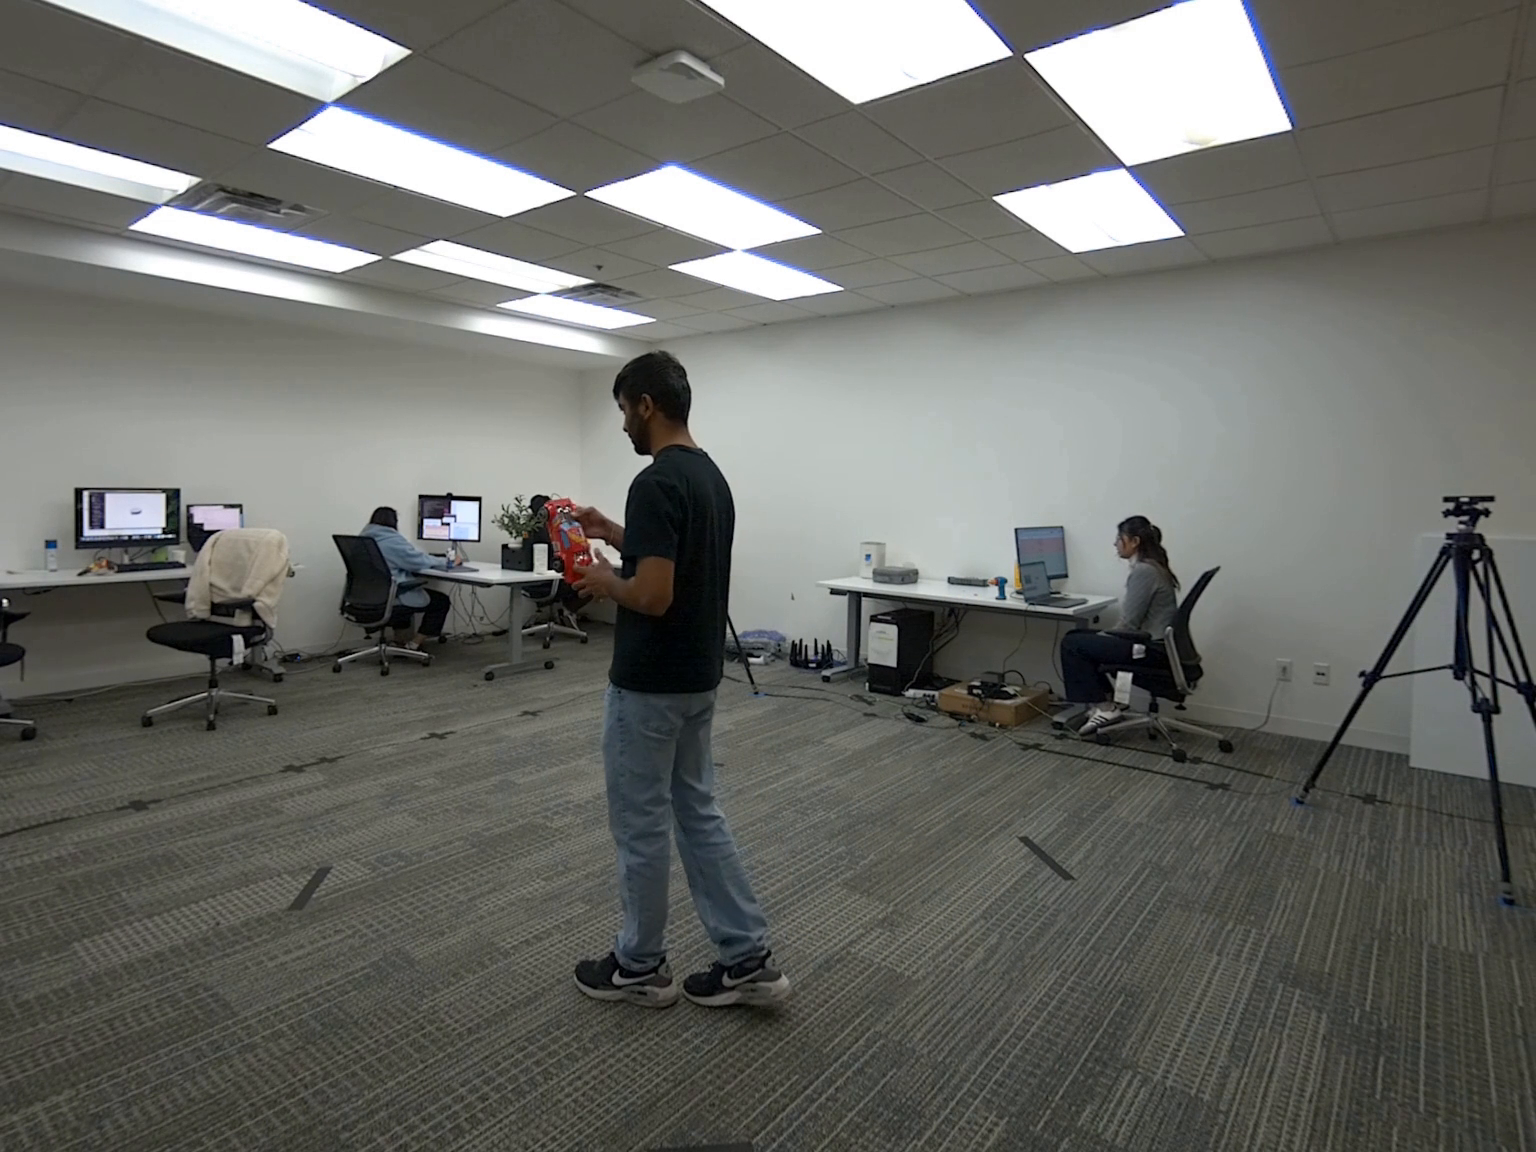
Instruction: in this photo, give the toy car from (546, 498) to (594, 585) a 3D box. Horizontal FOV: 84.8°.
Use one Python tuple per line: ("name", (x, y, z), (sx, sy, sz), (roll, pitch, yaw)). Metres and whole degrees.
("toy car", (-0.565, -0.091, 2.387), (0.084, 0.257, 0.127), (-29, -7, 34))
